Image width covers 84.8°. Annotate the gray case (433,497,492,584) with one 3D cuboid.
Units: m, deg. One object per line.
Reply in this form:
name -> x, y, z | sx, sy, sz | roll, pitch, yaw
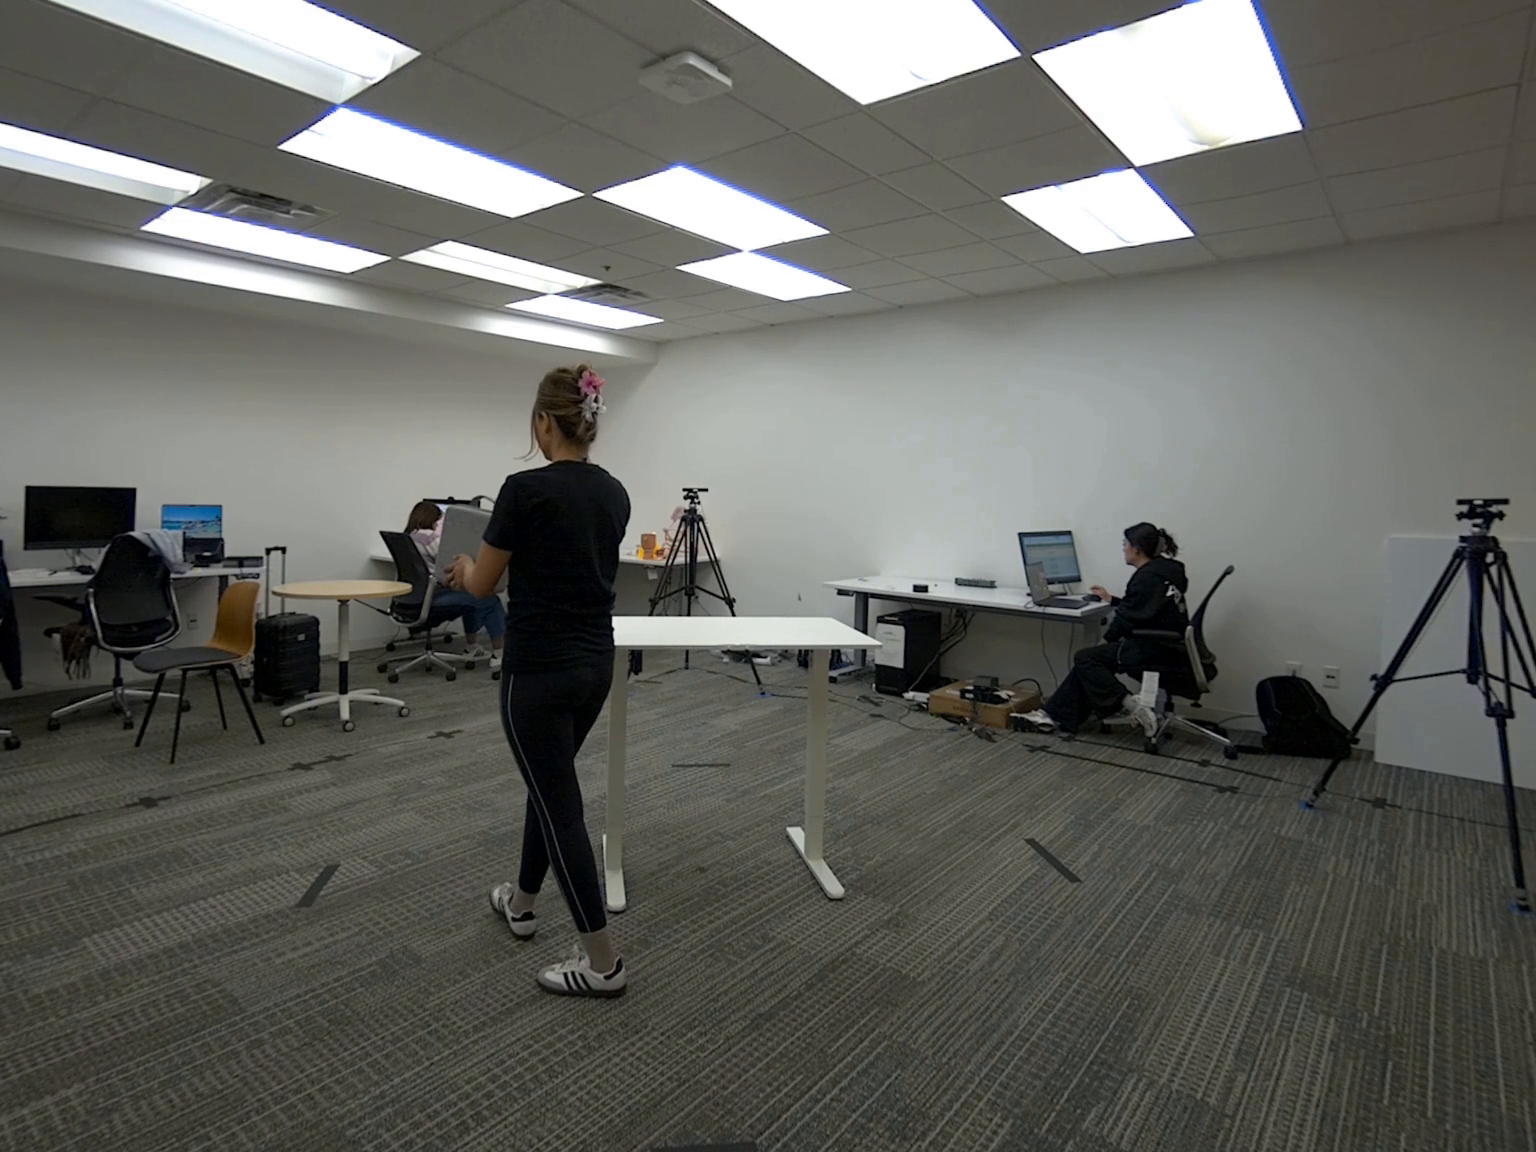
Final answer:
gray case -> -0.937, -0.094, 2.685 | 0.265, 0.260, 0.101 | 13, 3, 29
